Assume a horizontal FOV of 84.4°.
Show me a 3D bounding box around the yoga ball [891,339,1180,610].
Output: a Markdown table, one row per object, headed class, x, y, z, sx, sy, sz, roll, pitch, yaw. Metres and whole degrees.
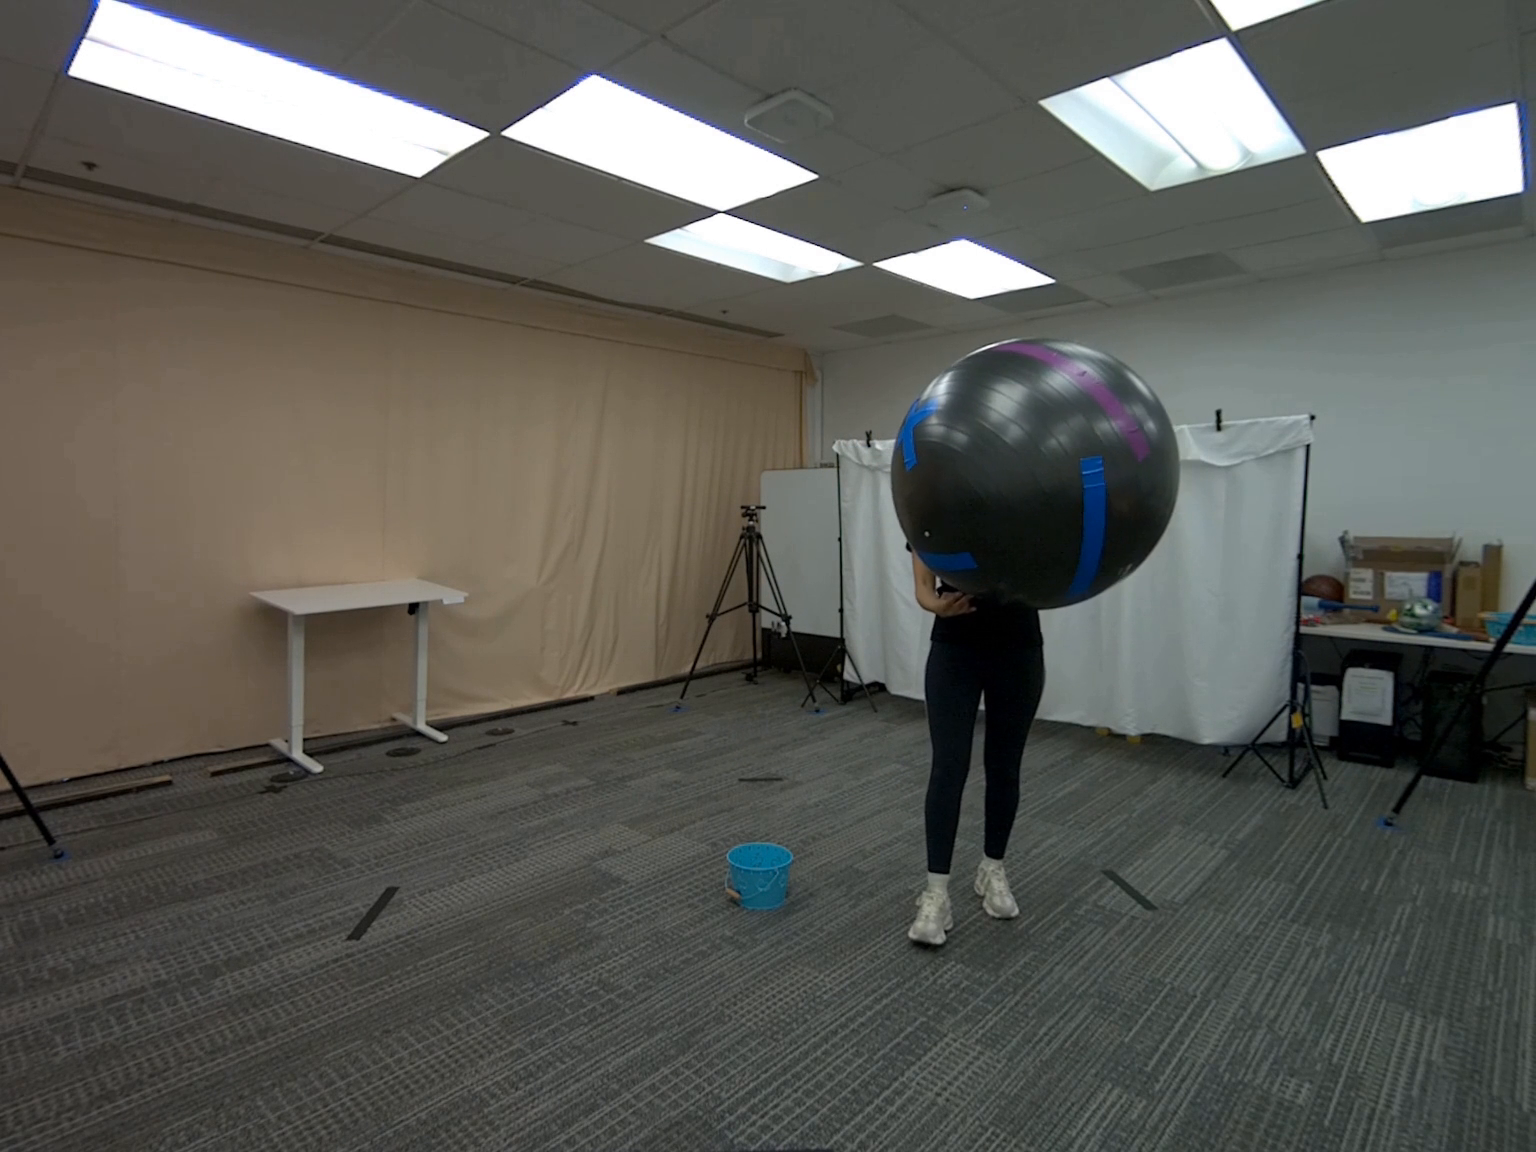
| class | x | y | z | sx | sy | sz | roll | pitch | yaw |
| --- | --- | --- | --- | --- | --- | --- | --- | --- | --- |
| yoga ball | 0.745 | -0.274 | 2.364 | 0.757 | 0.756 | 0.761 | 0 | 4 | -2 |
